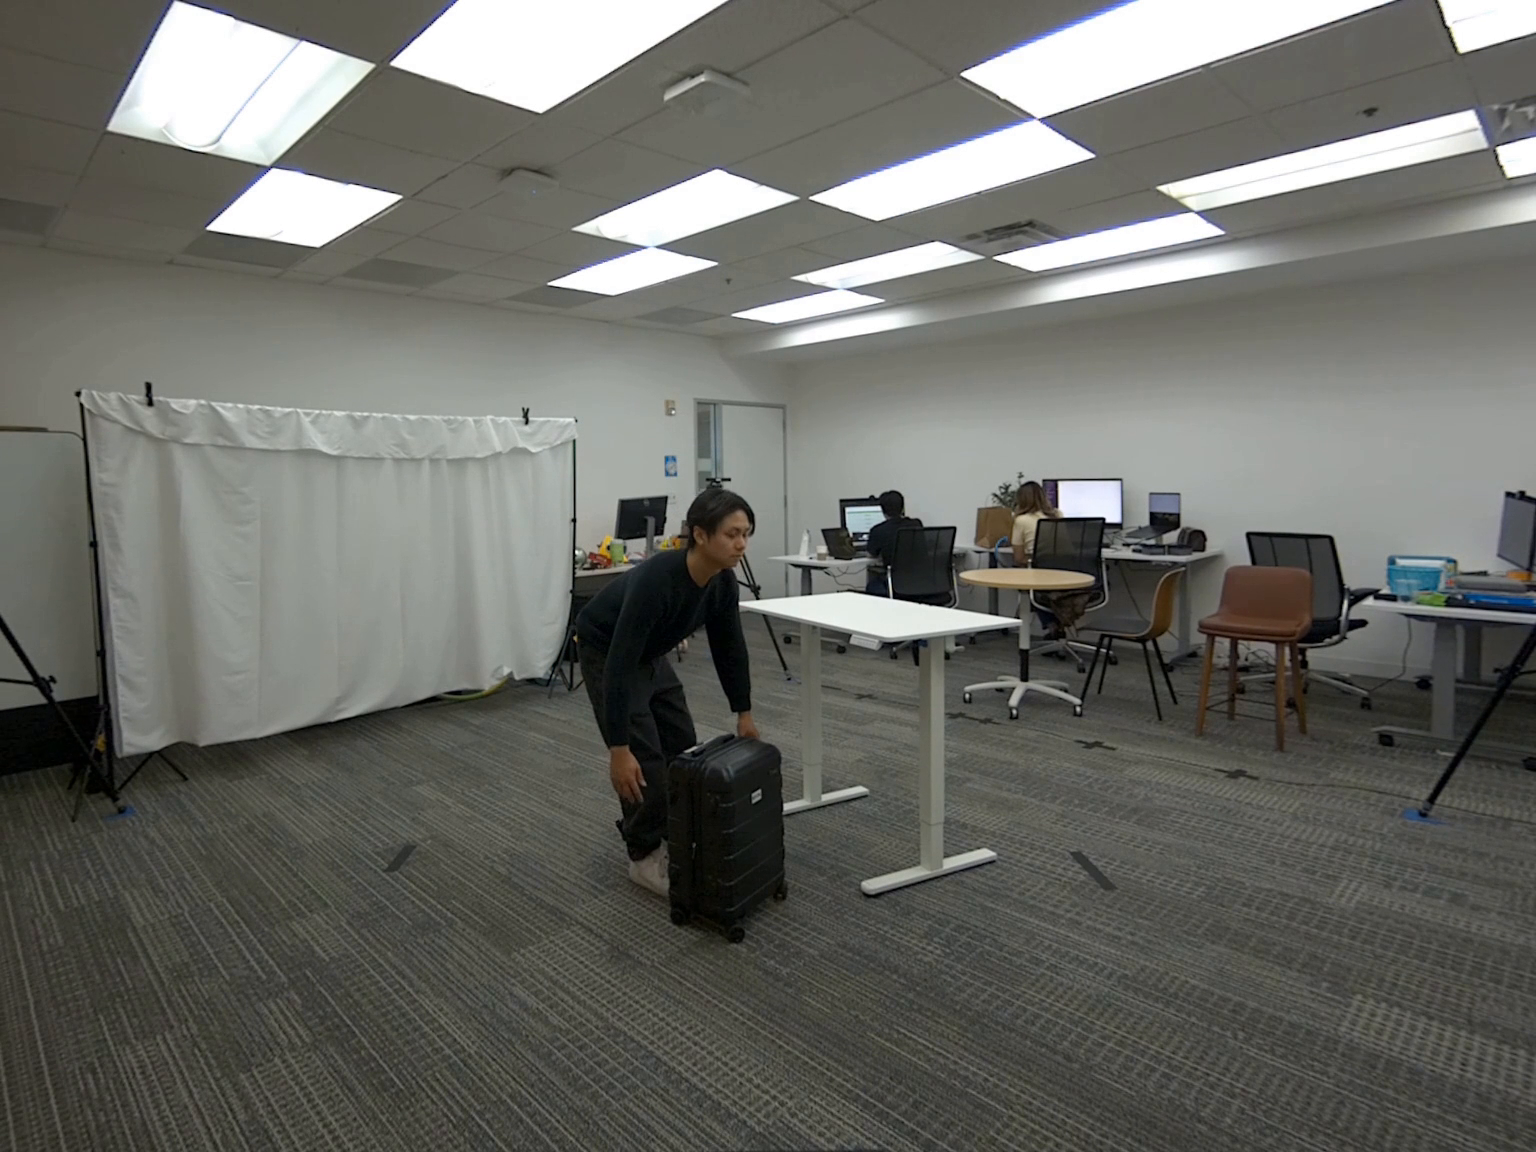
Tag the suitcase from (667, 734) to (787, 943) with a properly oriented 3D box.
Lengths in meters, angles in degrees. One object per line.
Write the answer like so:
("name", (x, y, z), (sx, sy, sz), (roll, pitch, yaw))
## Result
("suitcase", (-0.128, 0.809, 2.739), (0.255, 0.547, 0.366), (1, 5, 33))
